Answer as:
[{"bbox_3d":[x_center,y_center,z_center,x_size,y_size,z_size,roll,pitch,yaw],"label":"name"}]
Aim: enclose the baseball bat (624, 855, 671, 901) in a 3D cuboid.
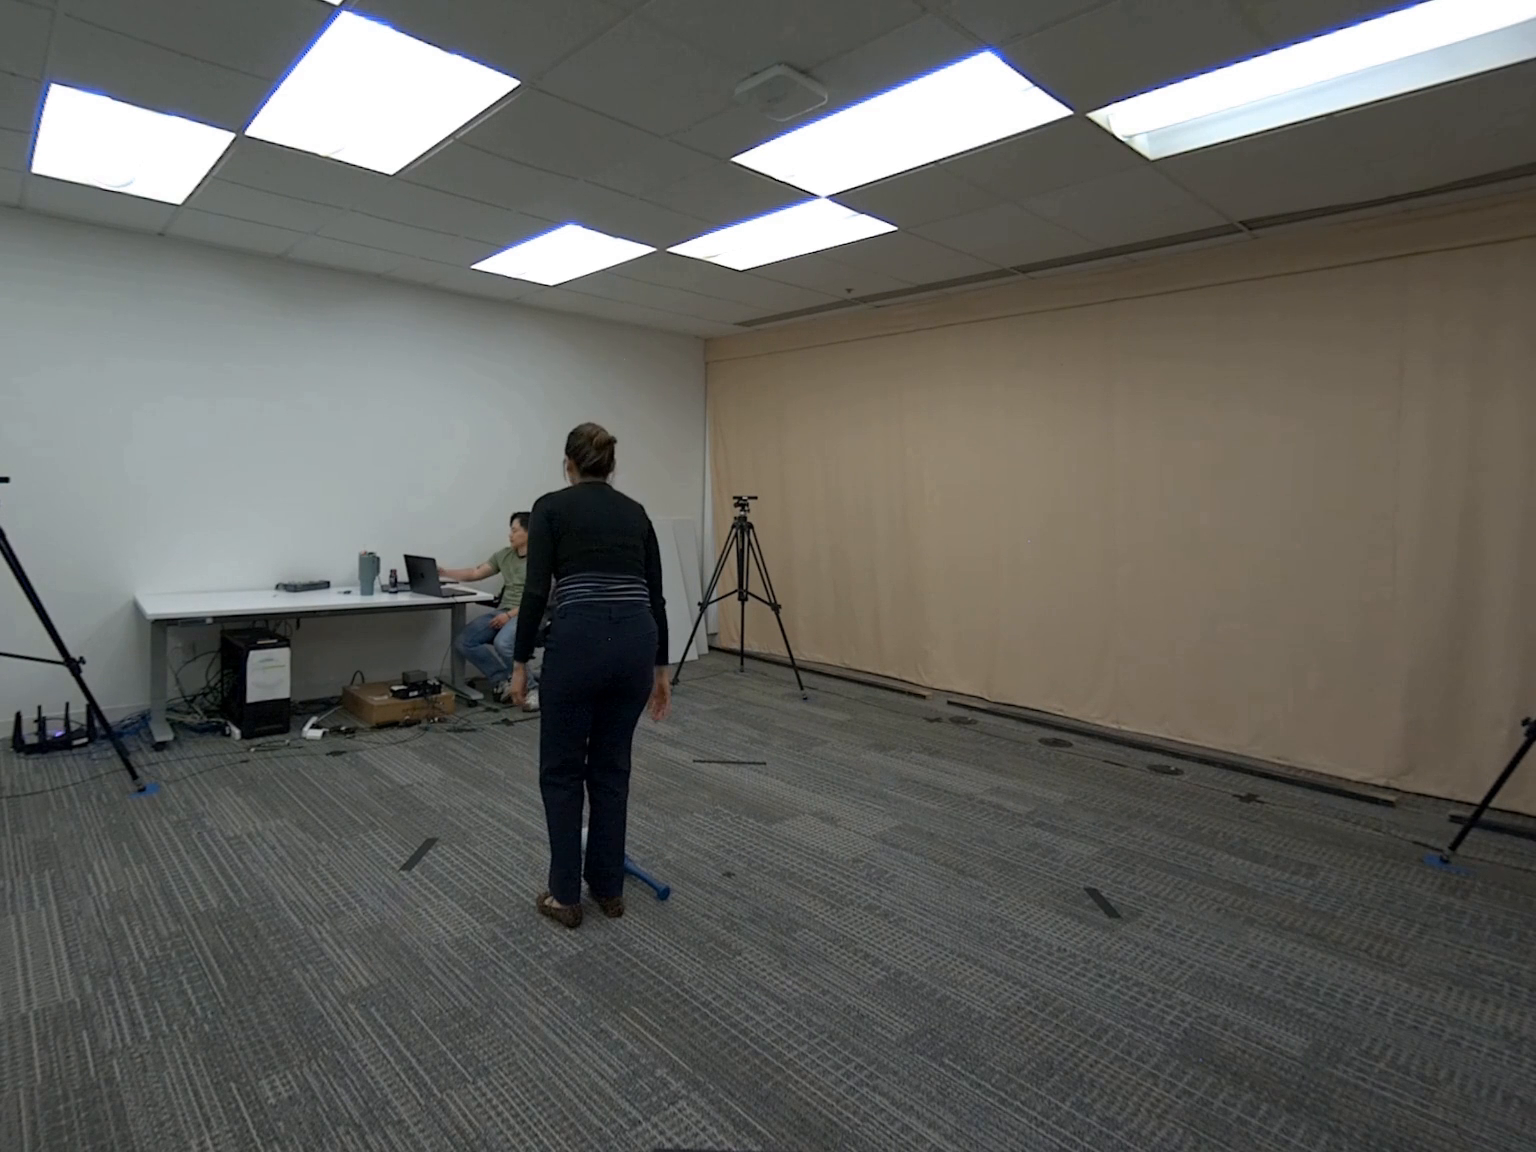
[{"bbox_3d":[-0.545,1.062,3.094,0.087,0.088,0.558,-2,10,-42],"label":"baseball bat"}]
